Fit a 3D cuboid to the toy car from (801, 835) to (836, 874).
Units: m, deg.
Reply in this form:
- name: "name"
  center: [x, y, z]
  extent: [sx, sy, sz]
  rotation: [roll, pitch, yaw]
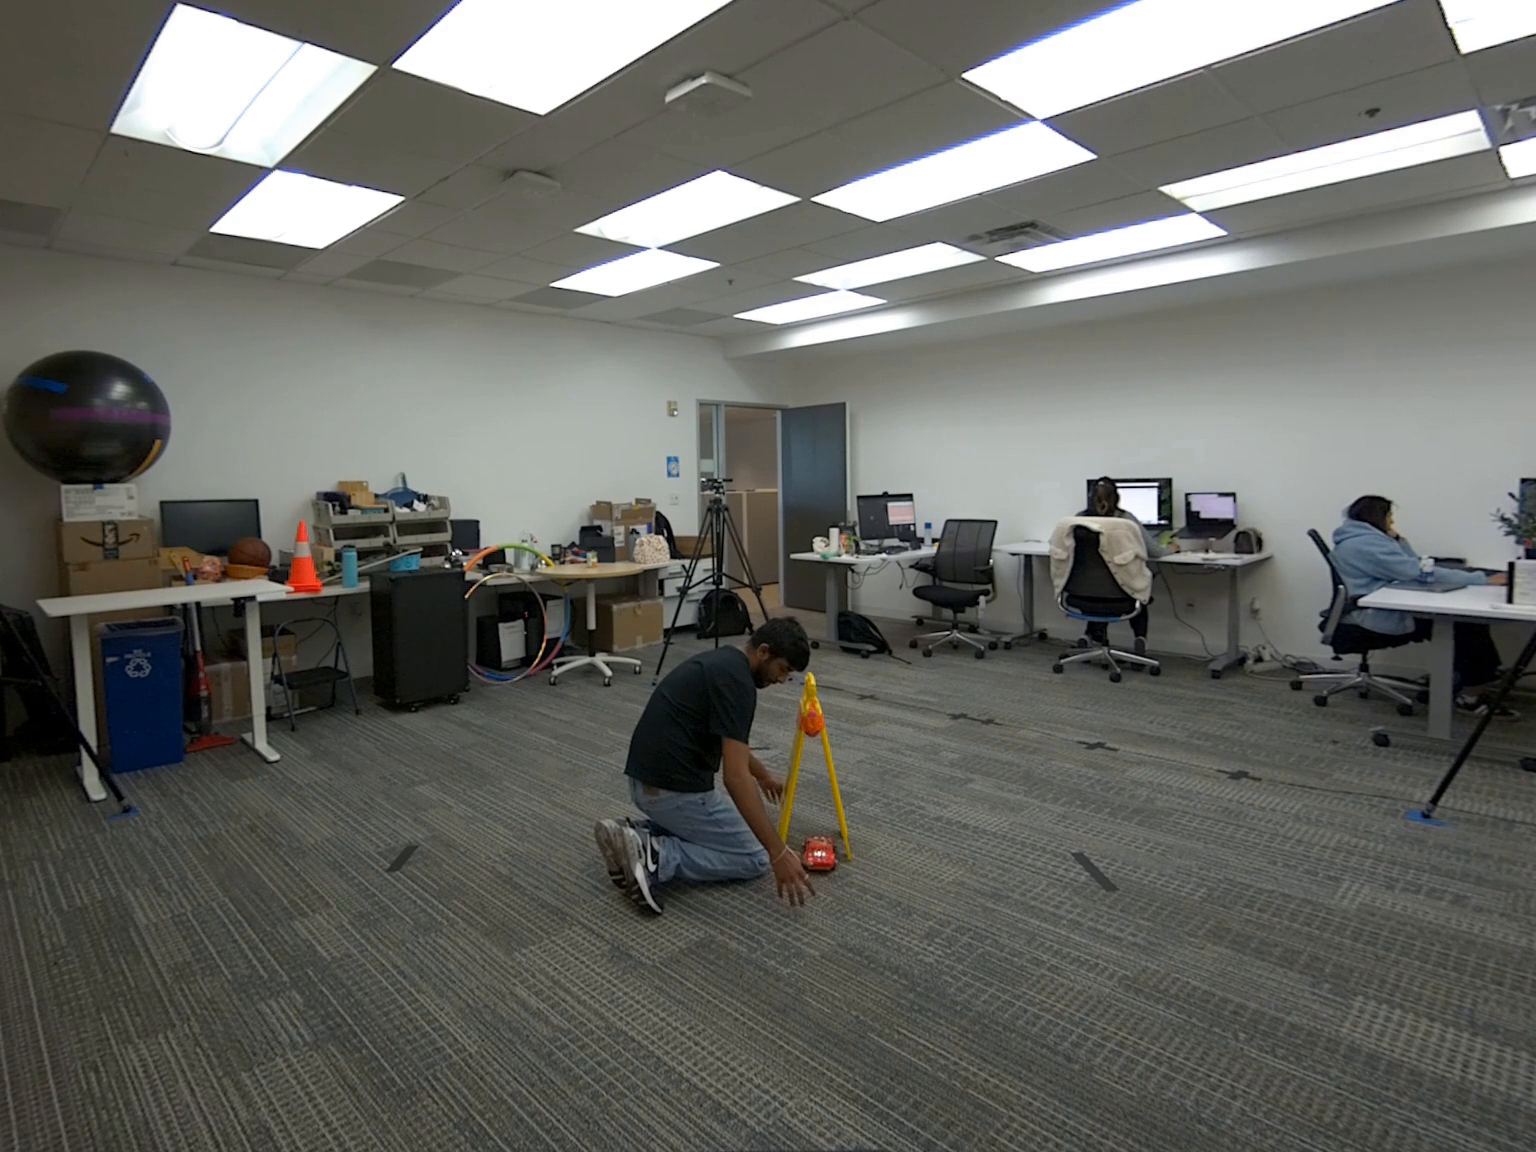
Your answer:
- name: "toy car"
  center: [0.183, 1.001, 3.108]
  extent: [0.131, 0.084, 0.252]
  rotation: [0, -5, 4]
